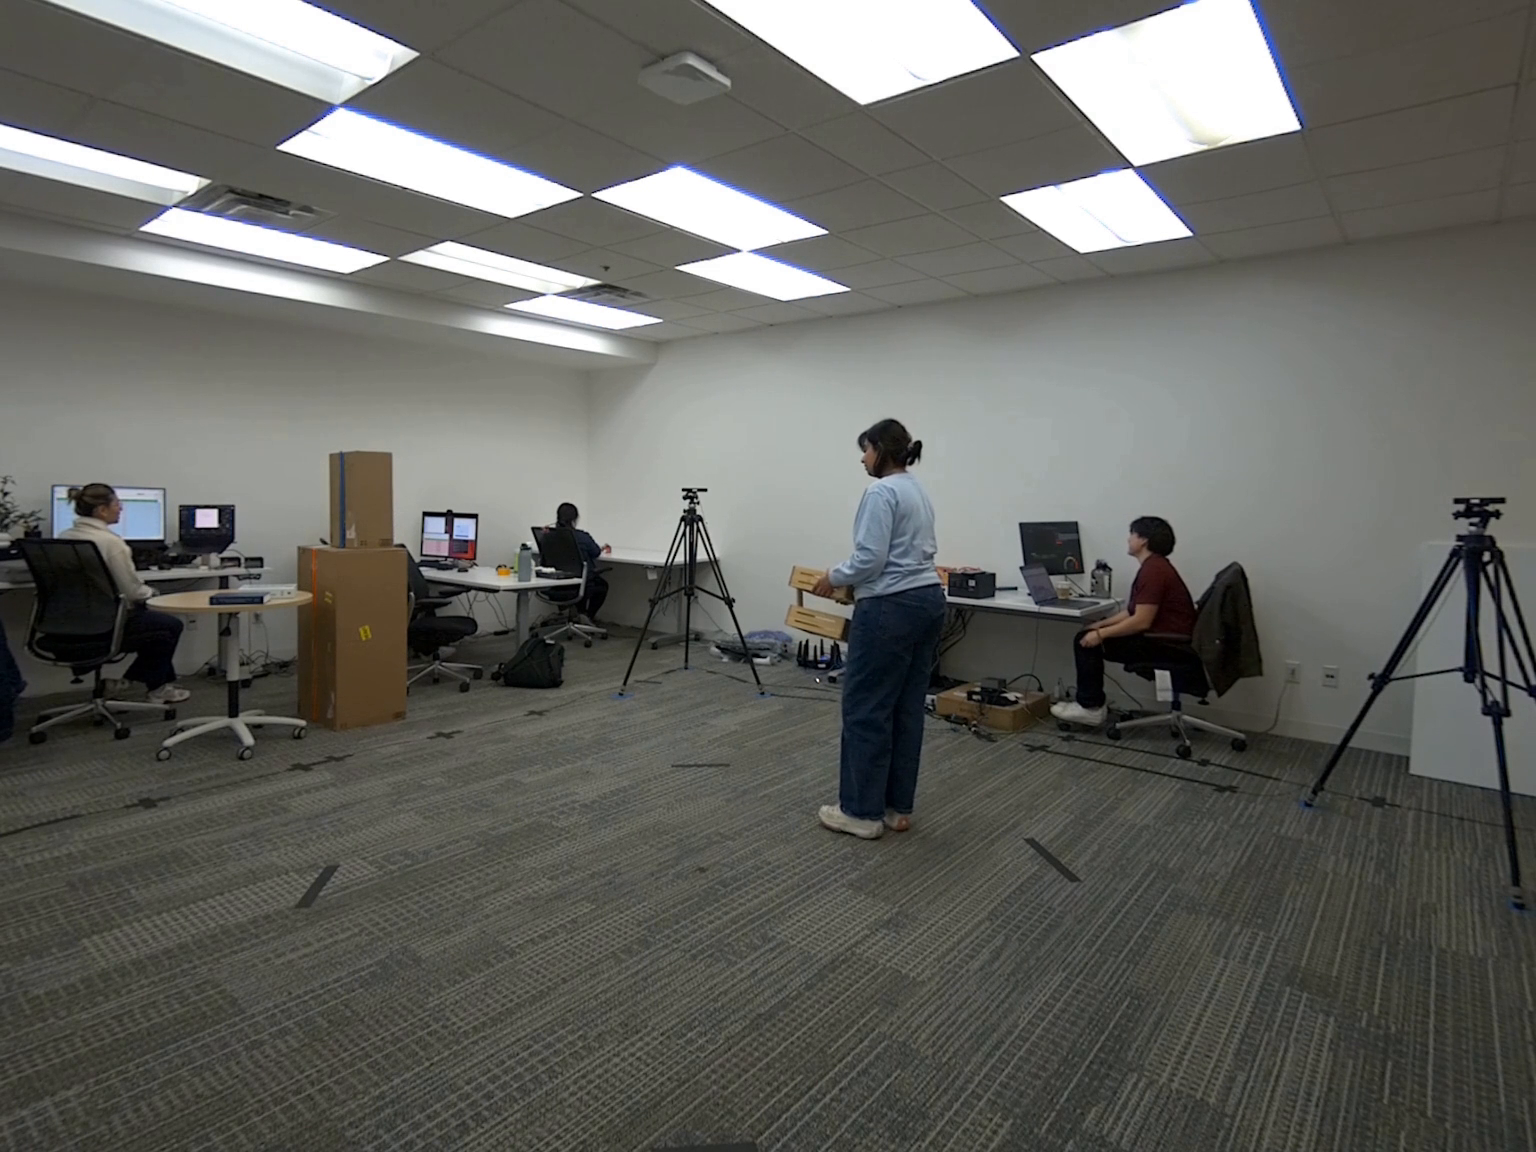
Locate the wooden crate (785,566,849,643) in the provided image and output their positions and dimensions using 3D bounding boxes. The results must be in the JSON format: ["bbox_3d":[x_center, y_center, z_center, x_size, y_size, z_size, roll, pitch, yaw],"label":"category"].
[{"bbox_3d":[0.268,0.129,3.777,0.336,0.274,0.290,12,-7,38],"label":"wooden crate"}]
